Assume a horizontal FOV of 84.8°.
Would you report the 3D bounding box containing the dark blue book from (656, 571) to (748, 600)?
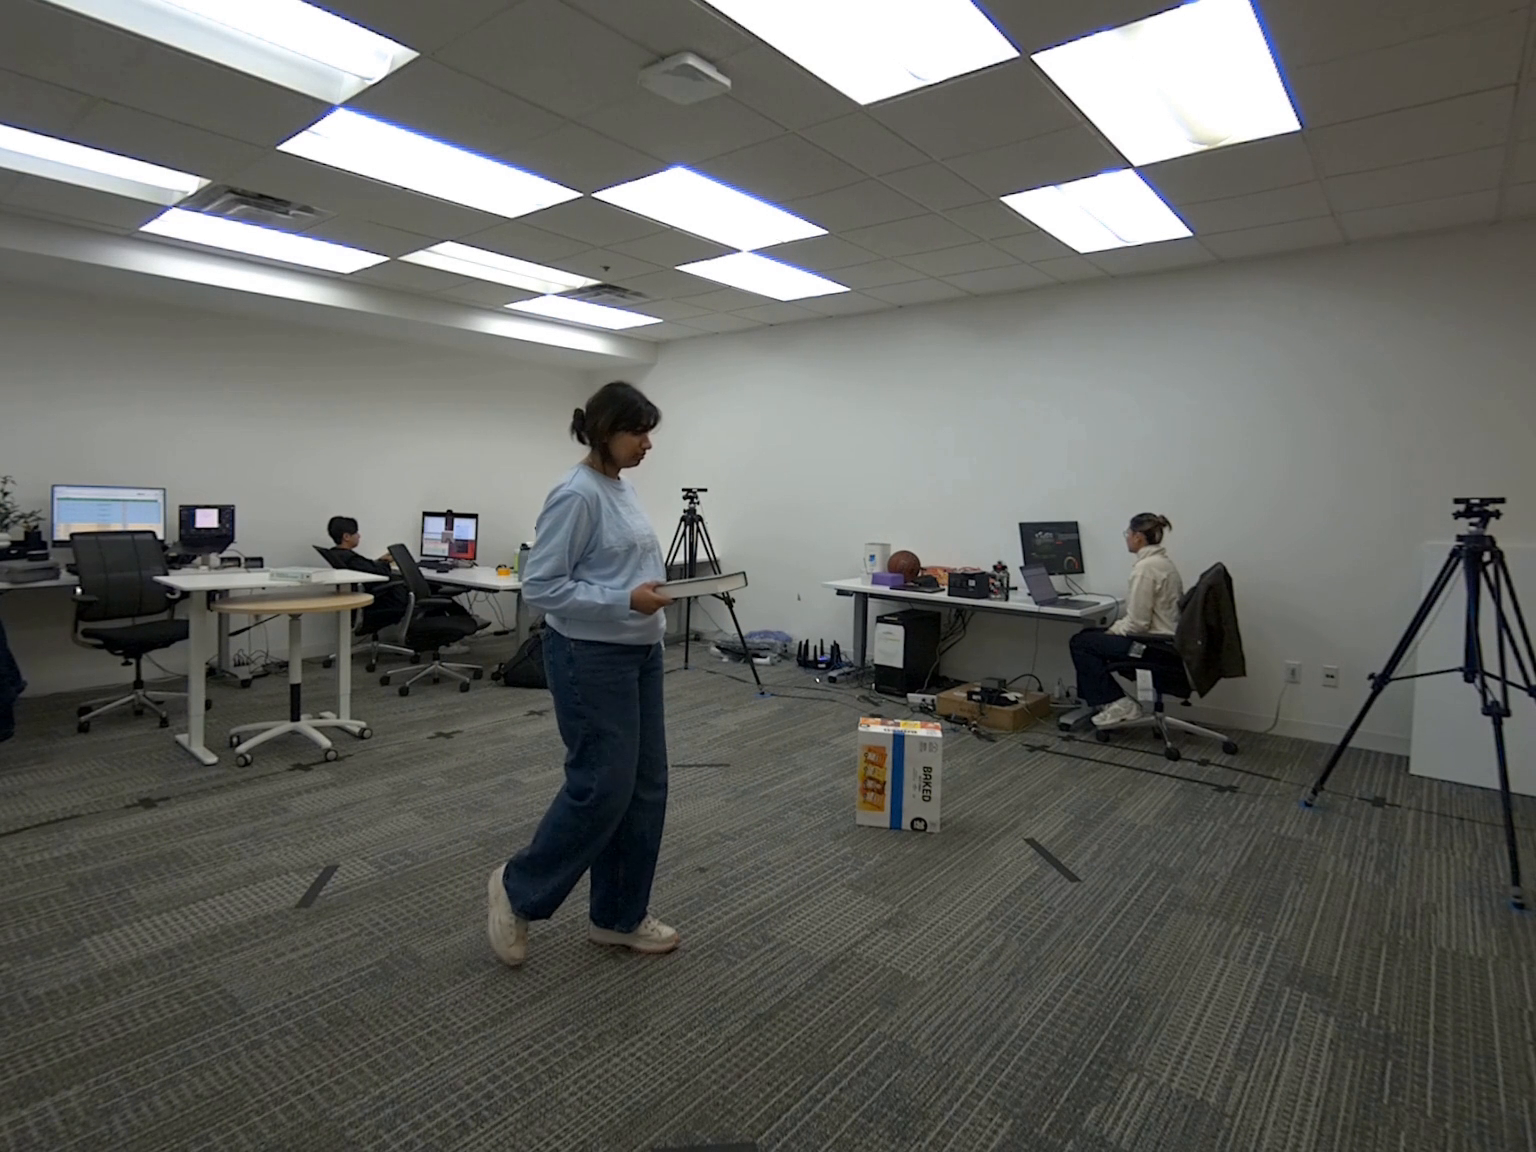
[{"bbox_3d":[-0.215,0.031,2.397,0.251,0.045,0.160,-6,4,26],"label":"dark blue book"}]
